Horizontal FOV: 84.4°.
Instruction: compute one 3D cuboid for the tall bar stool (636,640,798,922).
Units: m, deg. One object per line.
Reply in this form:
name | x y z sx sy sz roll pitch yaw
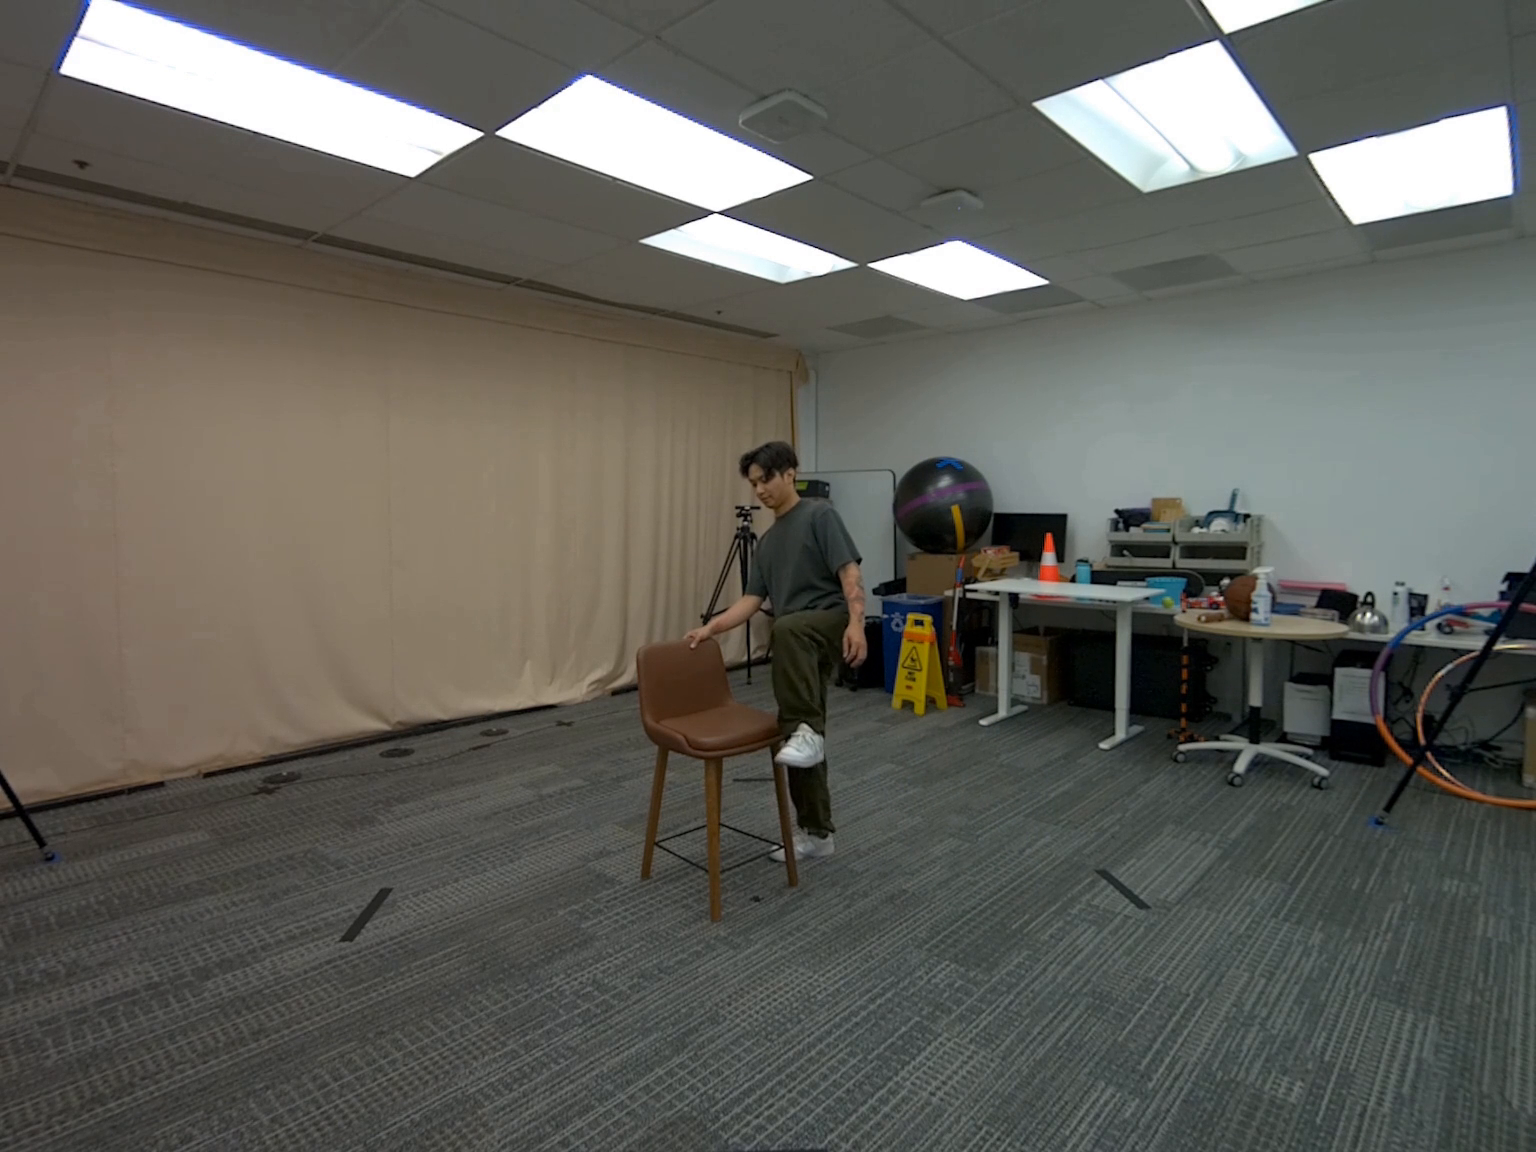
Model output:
tall bar stool | -0.198 0.697 3.095 0.442 0.888 0.483 -4 3 -43
